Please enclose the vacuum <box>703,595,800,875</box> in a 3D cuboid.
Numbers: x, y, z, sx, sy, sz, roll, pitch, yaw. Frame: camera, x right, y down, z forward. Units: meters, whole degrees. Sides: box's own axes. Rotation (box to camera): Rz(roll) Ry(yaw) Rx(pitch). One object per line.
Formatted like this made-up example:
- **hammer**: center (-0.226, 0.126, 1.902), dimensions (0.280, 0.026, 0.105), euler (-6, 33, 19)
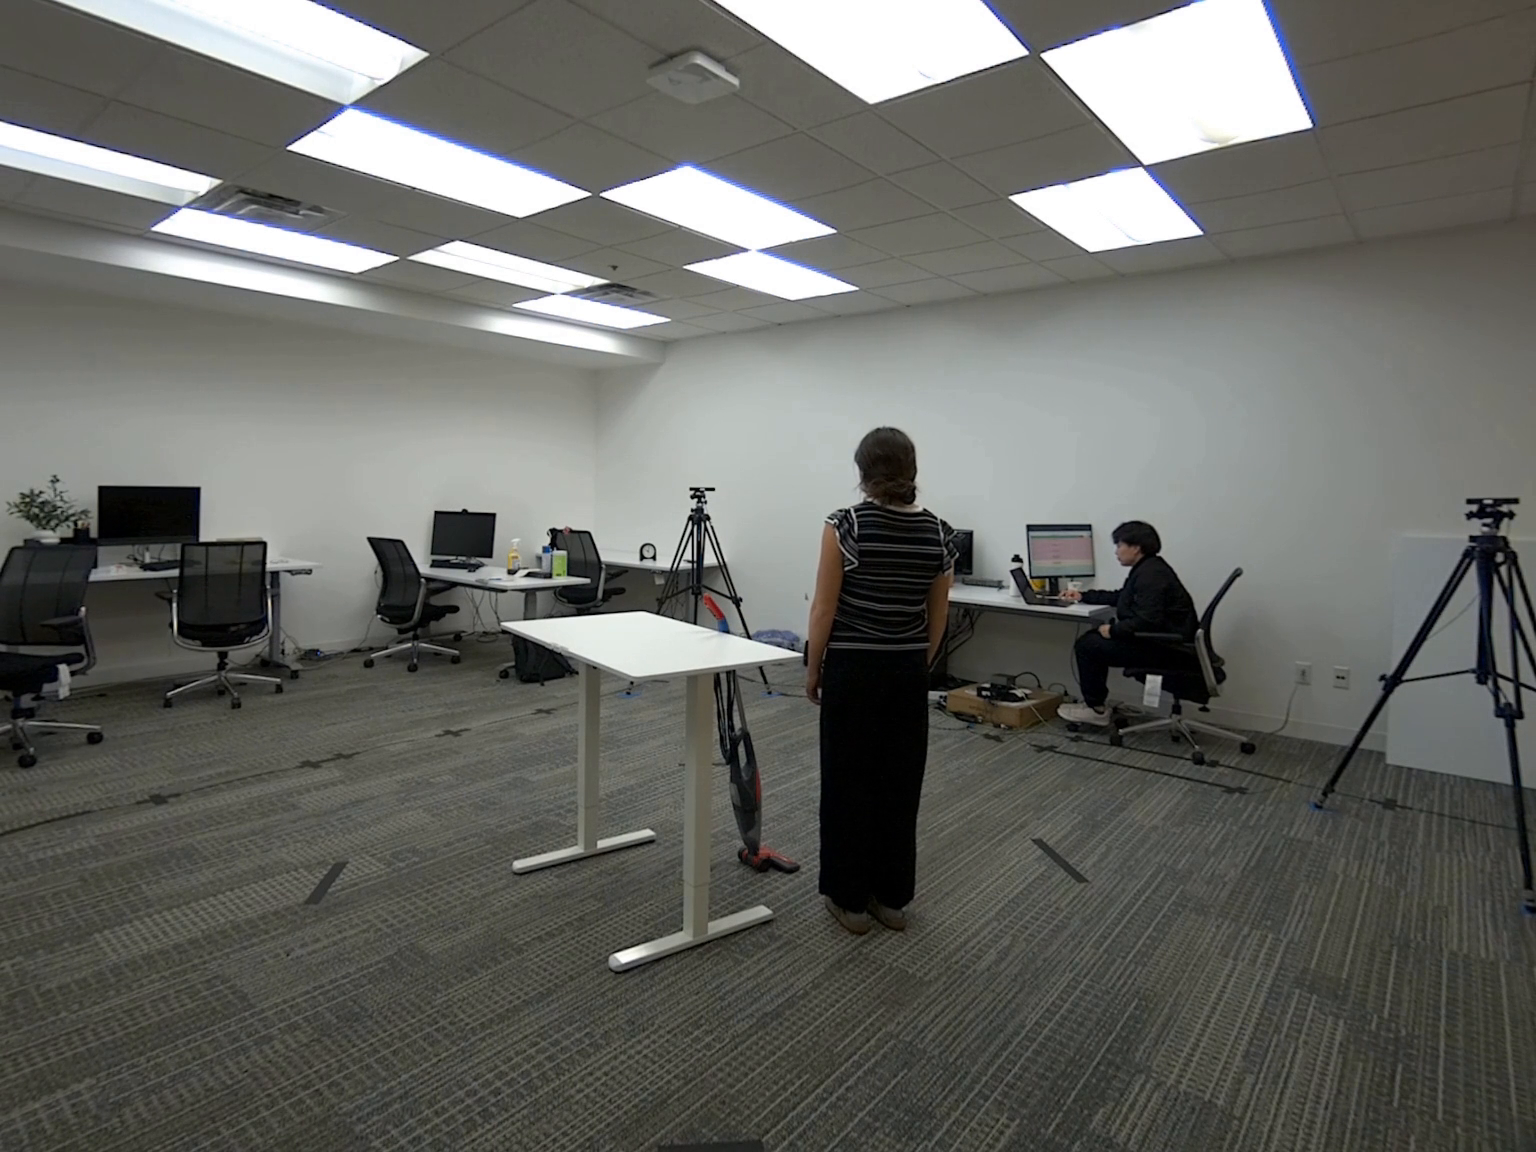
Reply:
- **vacuum**: center (-0.122, 0.572, 3.059), dimensions (0.141, 1.035, 0.261), euler (-21, 15, -37)
